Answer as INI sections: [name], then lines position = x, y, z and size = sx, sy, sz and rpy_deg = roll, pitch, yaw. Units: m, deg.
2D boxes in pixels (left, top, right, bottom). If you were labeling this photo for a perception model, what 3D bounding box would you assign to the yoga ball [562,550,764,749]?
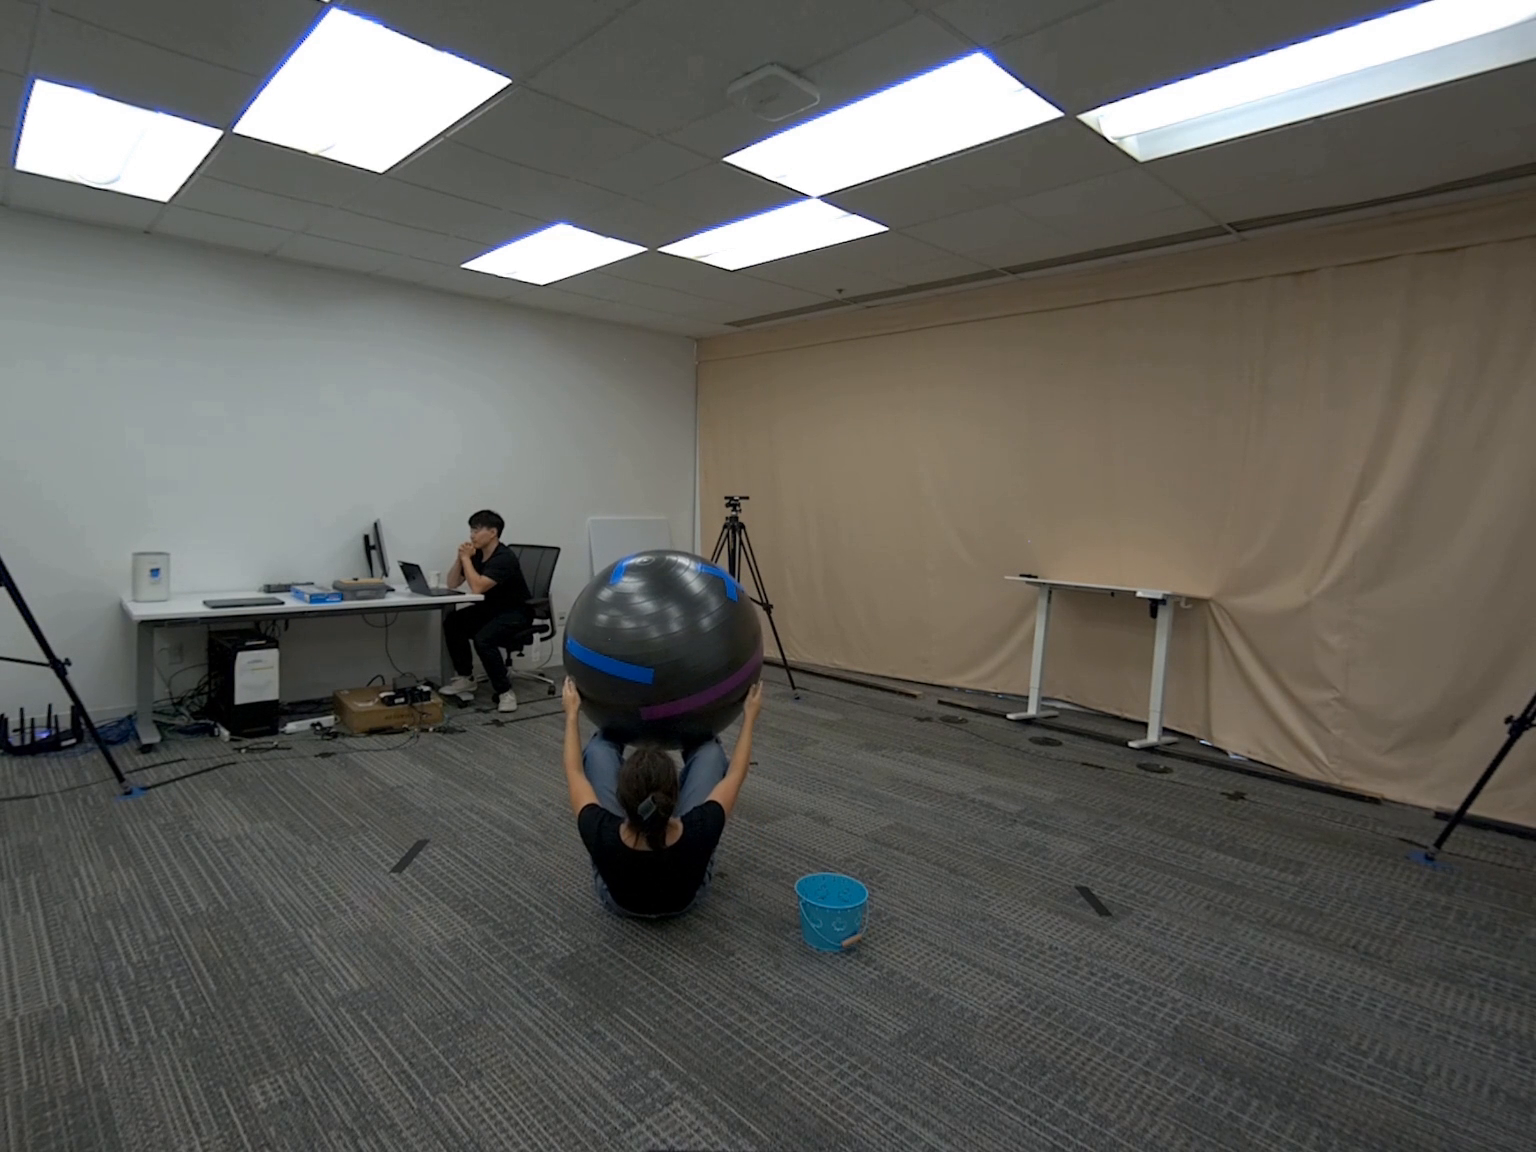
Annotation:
[yoga ball]
position = -0.412, 0.282, 3.200
size = 0.757, 0.756, 0.761
rpy_deg = 1, 4, -1
